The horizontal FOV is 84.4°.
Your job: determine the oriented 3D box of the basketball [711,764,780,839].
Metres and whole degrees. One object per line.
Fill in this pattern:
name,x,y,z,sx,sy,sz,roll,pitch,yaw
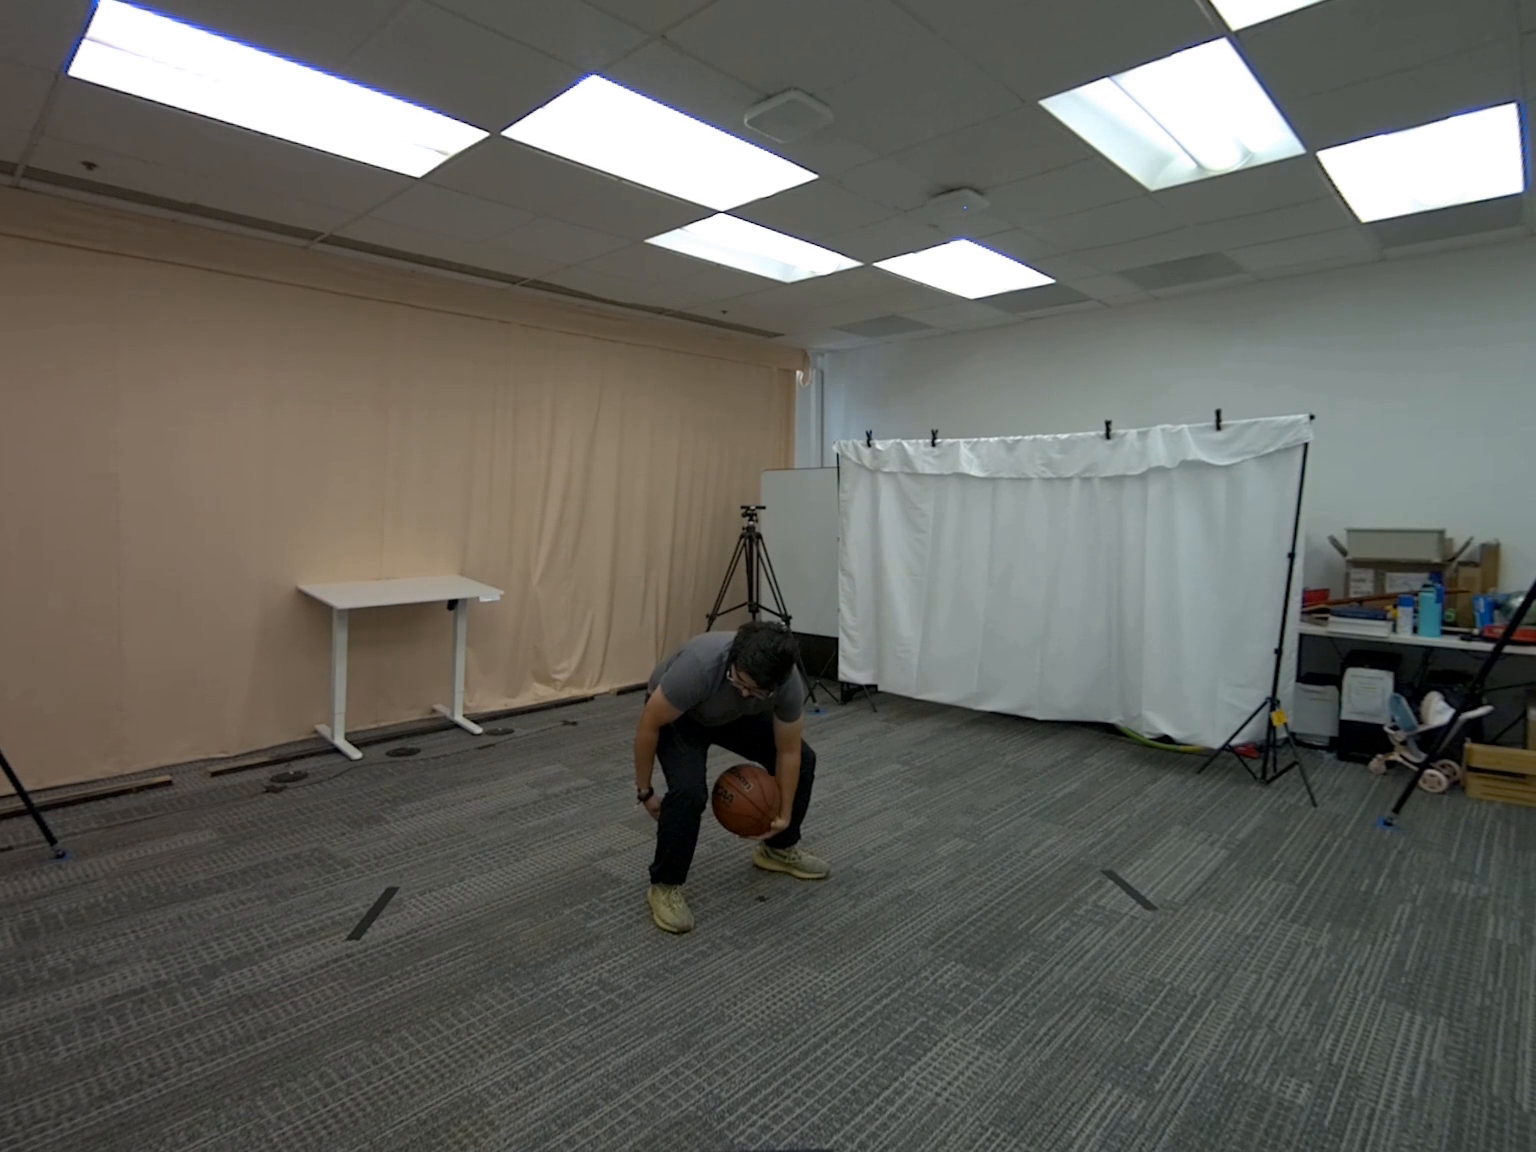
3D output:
basketball,-0.068,0.769,2.891,0.236,0.235,0.237,0,4,-2
